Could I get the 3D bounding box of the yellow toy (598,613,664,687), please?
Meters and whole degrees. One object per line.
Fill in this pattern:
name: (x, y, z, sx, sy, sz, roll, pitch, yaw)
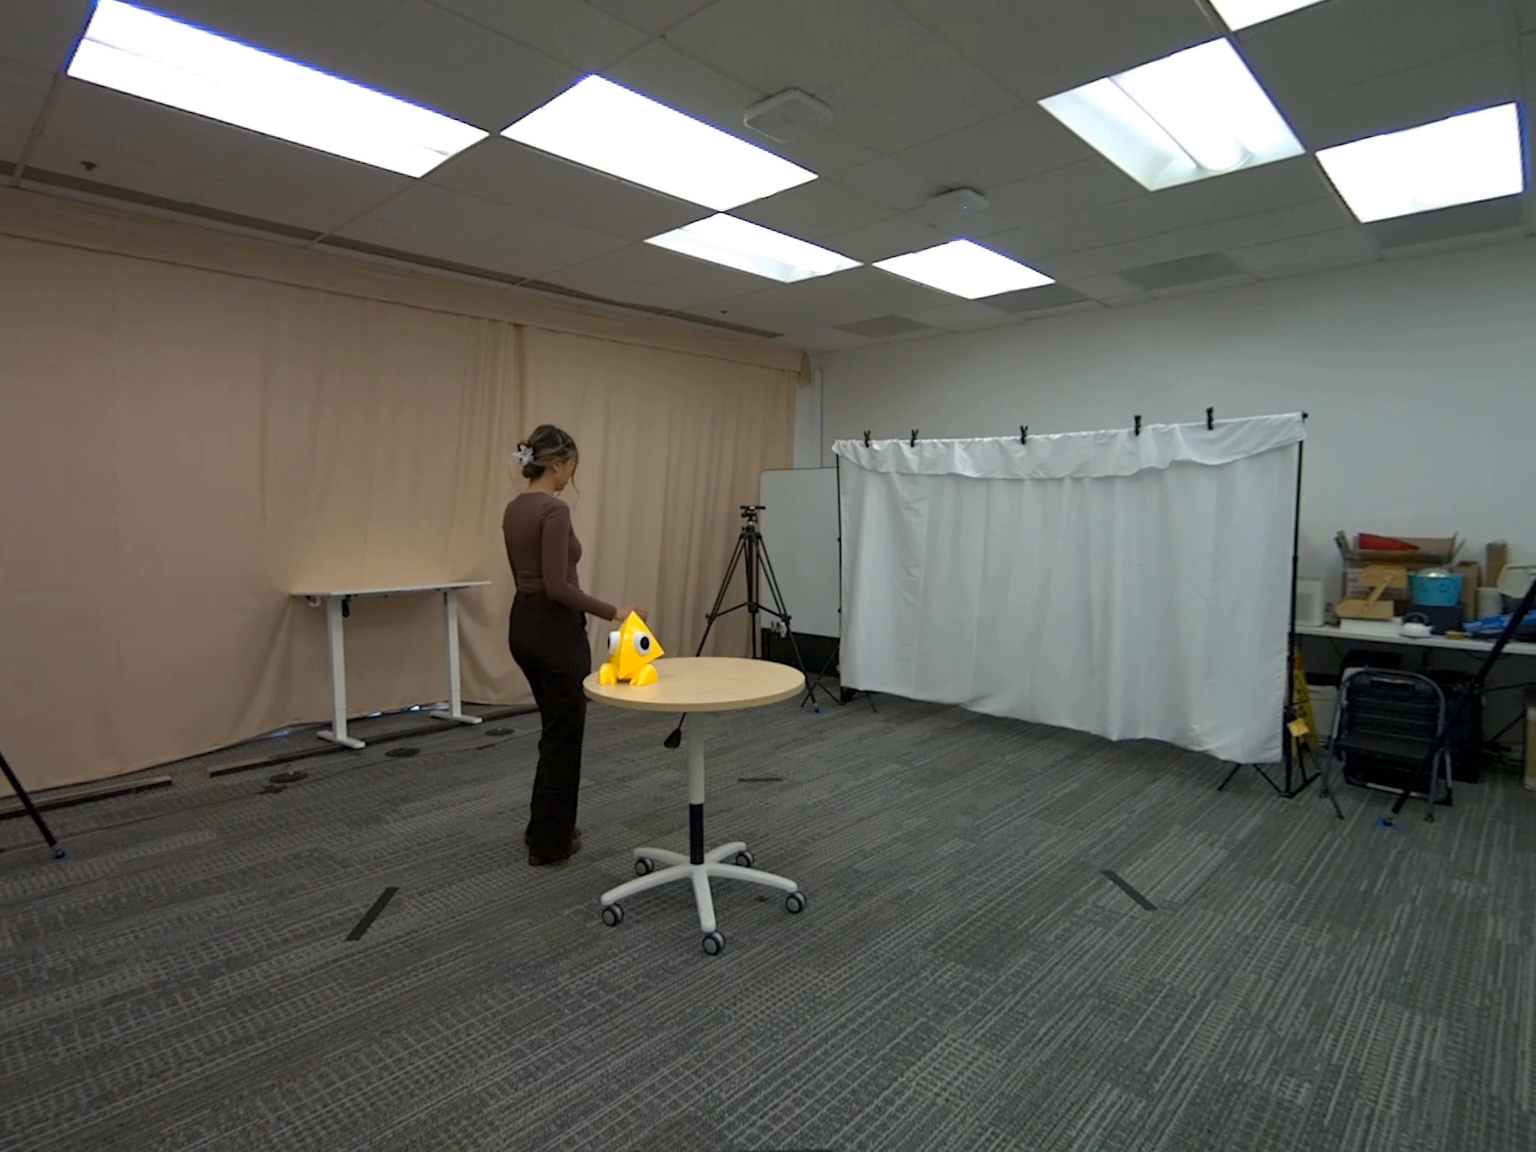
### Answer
yellow toy: (-0.481, 0.246, 2.896, 0.207, 0.230, 0.191, 0, 4, 10)
